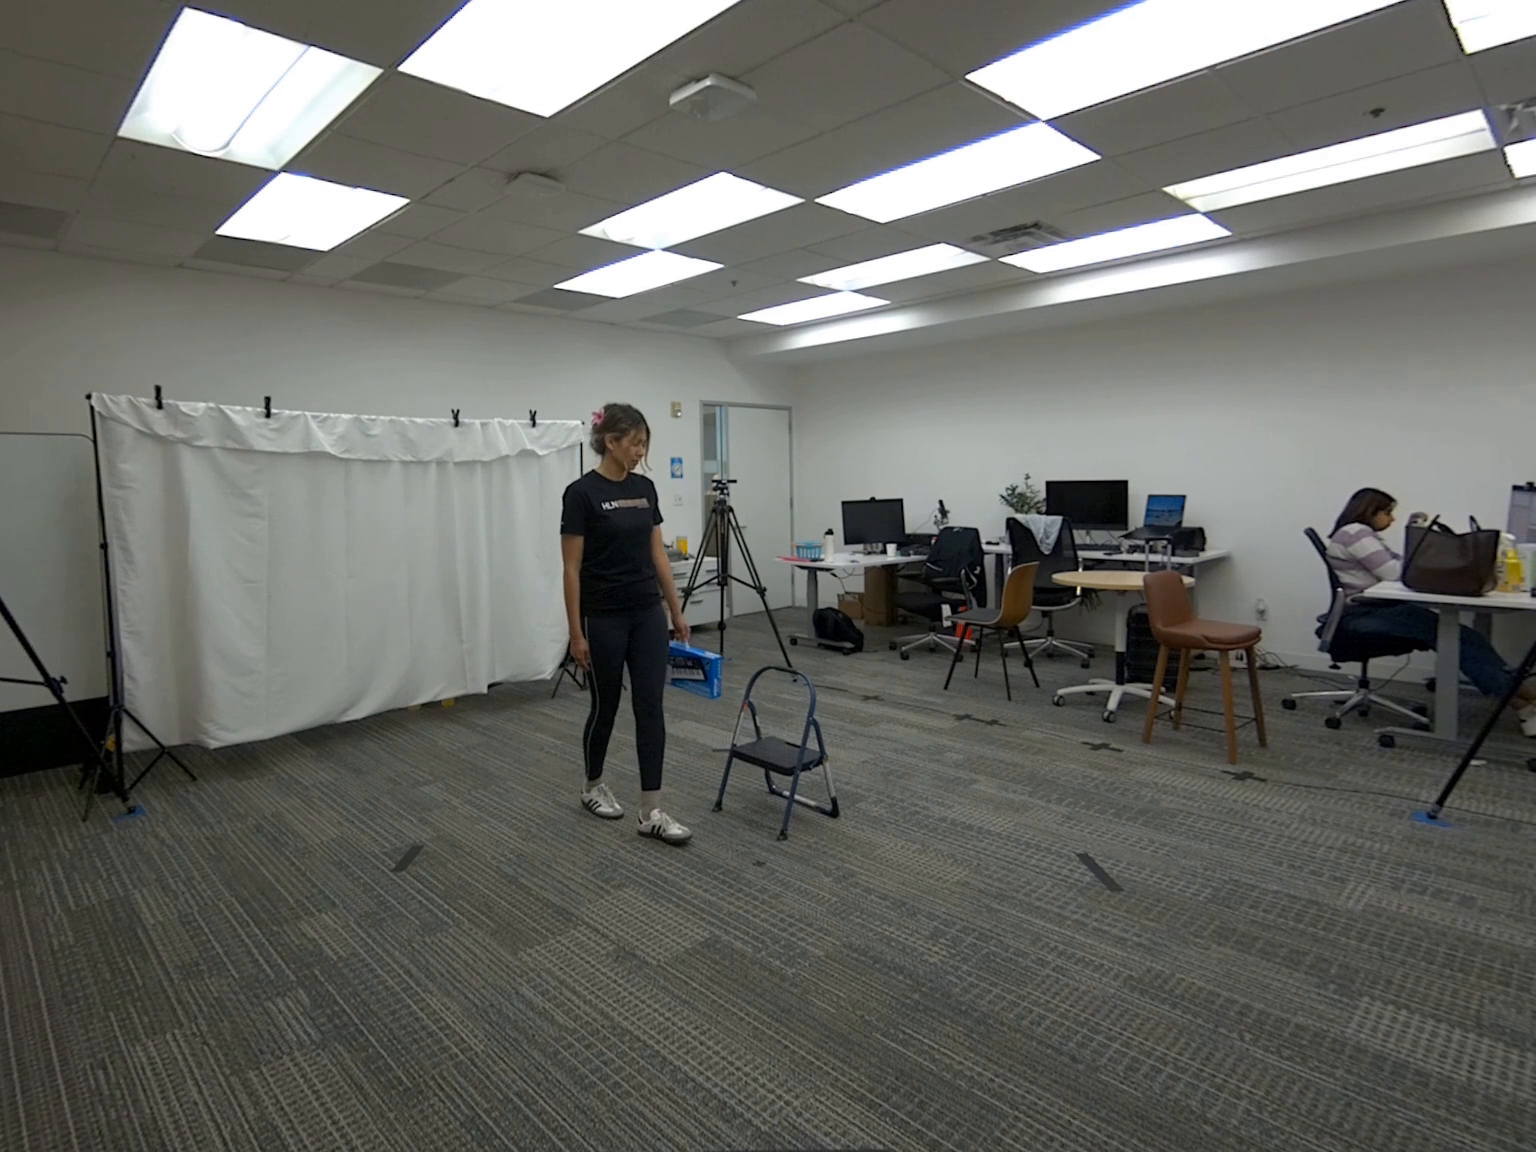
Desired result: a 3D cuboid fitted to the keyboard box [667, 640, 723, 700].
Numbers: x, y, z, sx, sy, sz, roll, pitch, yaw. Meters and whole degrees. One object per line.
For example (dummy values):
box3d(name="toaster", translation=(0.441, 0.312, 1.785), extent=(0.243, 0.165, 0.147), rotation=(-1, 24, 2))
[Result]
box3d(name="keyboard box", translation=(-0.373, 0.382, 3.612), extent=(0.451, 0.175, 0.057), rotation=(10, 11, 41))
